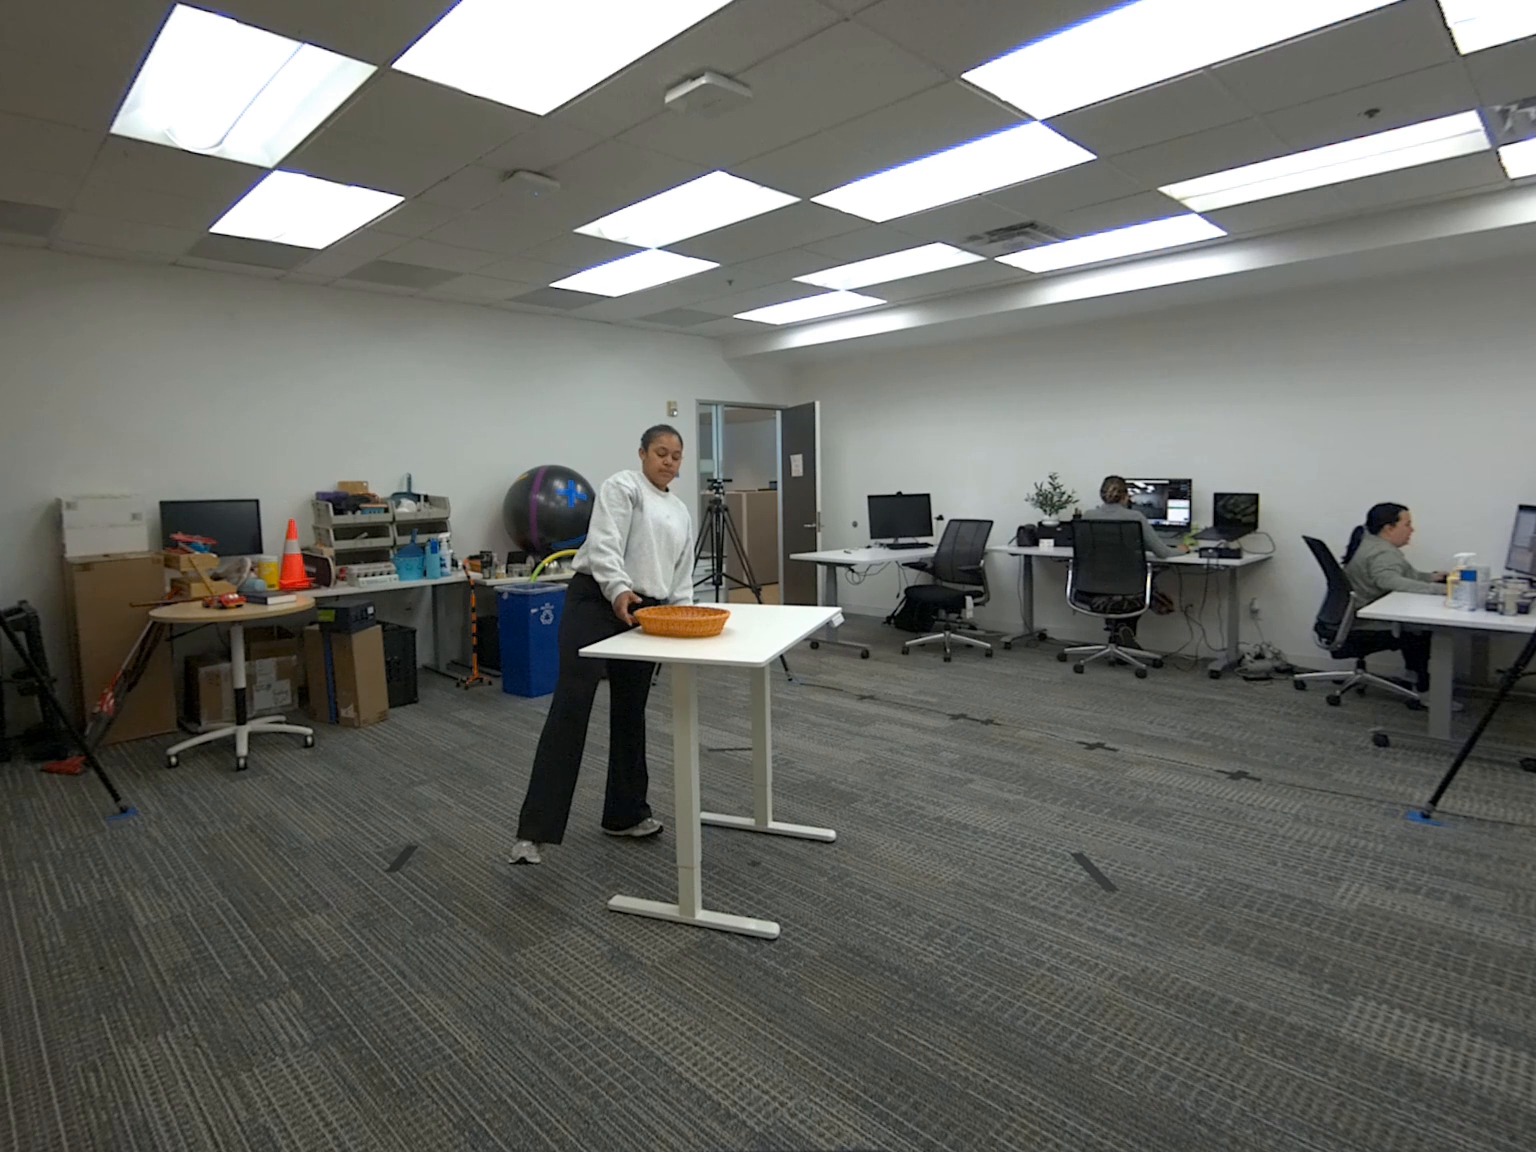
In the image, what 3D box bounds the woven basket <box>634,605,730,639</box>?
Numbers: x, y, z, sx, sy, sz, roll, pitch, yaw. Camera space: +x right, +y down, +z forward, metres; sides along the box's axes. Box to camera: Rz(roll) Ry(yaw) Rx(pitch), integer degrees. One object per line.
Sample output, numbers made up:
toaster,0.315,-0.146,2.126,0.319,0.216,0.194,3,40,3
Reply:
woven basket,-0.290,0.162,2.891,0.360,0.073,0.247,2,8,31
